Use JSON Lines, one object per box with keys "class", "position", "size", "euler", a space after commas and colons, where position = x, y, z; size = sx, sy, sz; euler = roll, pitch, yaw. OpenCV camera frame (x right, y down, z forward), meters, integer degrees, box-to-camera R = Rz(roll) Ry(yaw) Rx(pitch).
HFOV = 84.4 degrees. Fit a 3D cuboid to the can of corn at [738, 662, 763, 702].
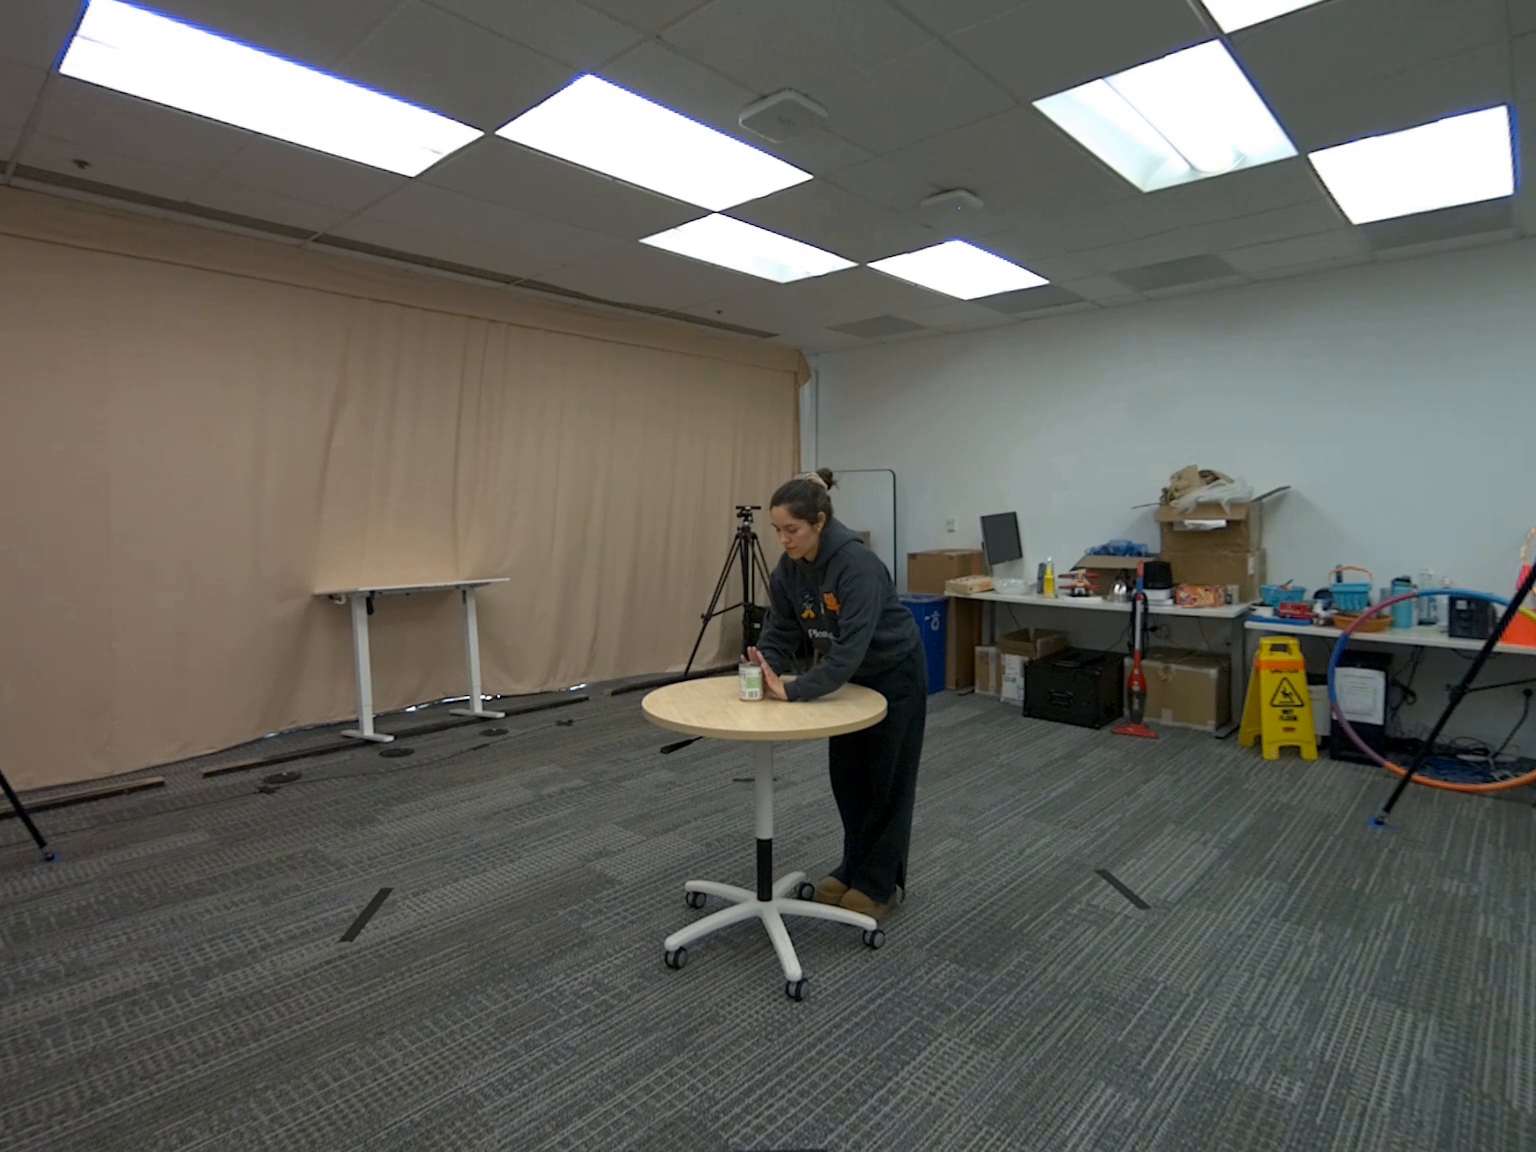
{"class": "can of corn", "position": [-0.043, 0.332, 2.655], "size": [0.074, 0.110, 0.074], "euler": [0, 6, -2]}
